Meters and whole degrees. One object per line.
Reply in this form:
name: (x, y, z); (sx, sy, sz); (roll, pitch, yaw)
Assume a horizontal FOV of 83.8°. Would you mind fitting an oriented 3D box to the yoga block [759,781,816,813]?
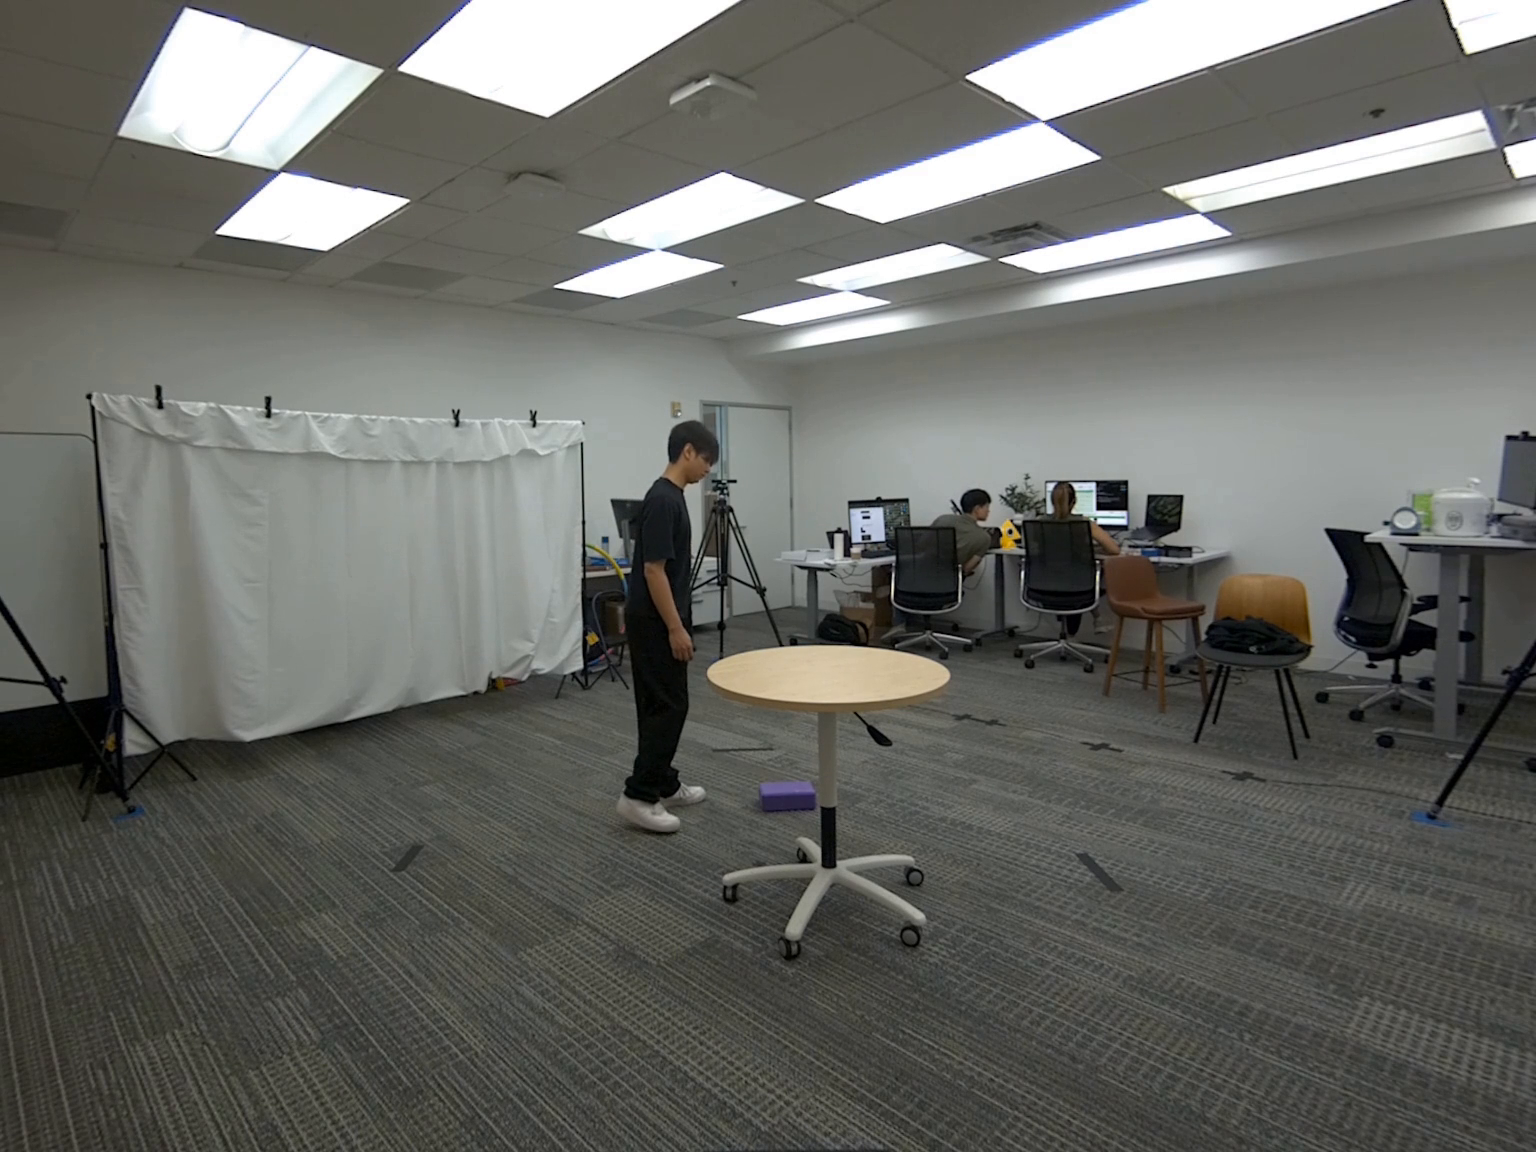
yoga block: (0.073, 0.939, 3.668); (0.228, 0.076, 0.150); (-2, 7, -6)
